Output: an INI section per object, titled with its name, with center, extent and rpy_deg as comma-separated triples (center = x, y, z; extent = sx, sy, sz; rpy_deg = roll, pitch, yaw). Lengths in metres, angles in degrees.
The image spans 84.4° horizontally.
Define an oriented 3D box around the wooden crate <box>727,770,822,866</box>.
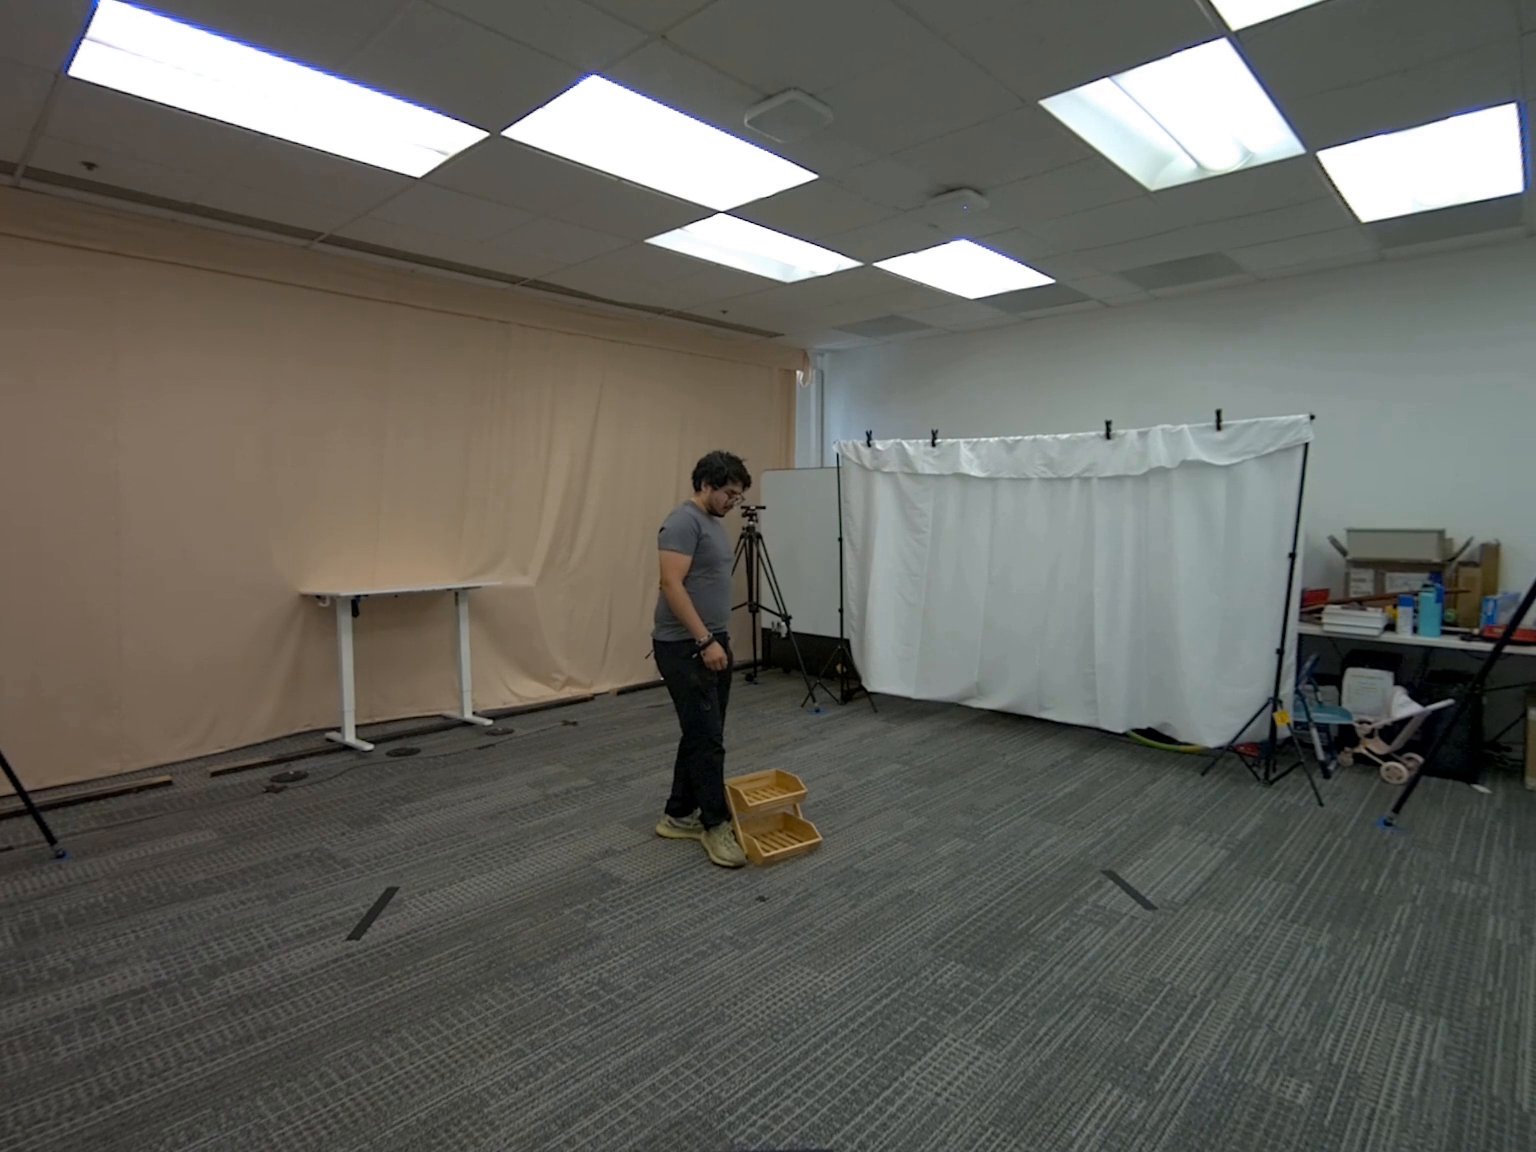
[wooden crate]
center = 0.014, 0.971, 3.429
extent = 0.315, 0.273, 0.311
rpy_deg = -3, 4, -37
